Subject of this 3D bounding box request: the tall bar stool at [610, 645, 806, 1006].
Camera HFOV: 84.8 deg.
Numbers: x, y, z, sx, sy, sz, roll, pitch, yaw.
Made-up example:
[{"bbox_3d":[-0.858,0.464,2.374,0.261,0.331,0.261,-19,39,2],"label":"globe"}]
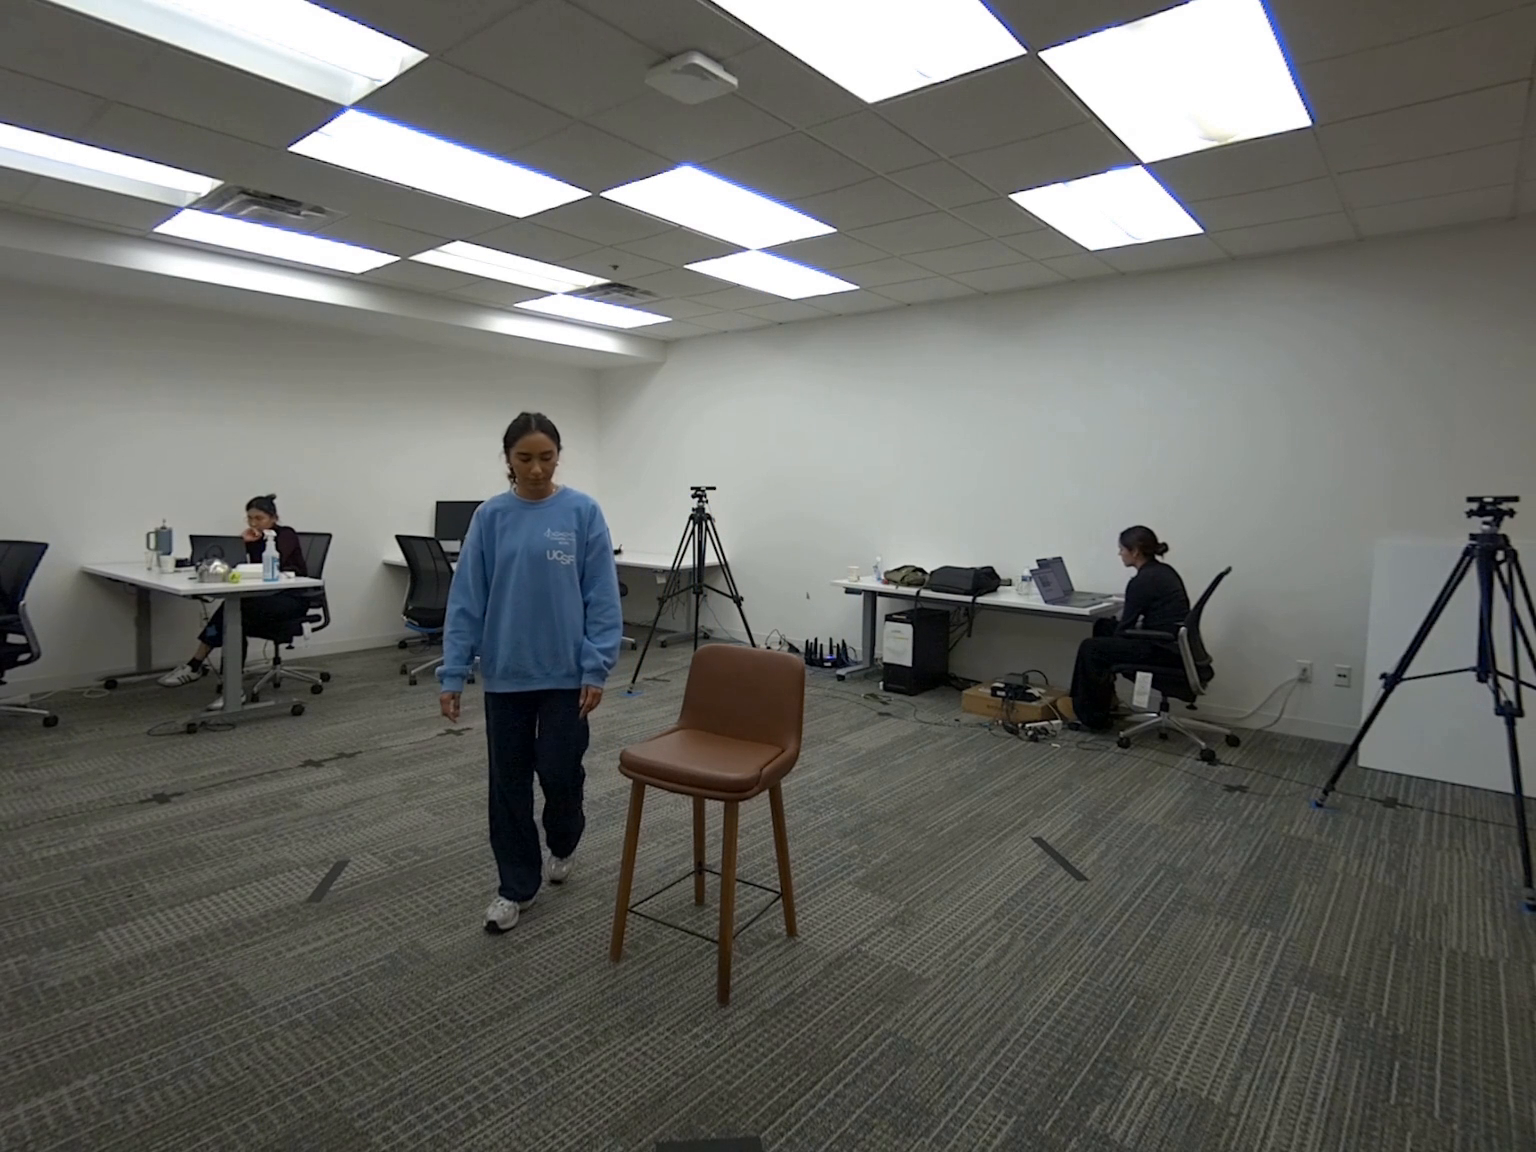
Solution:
[{"bbox_3d":[-0.174,0.689,2.544,0.470,0.888,0.454,3,2,31],"label":"tall bar stool"}]
